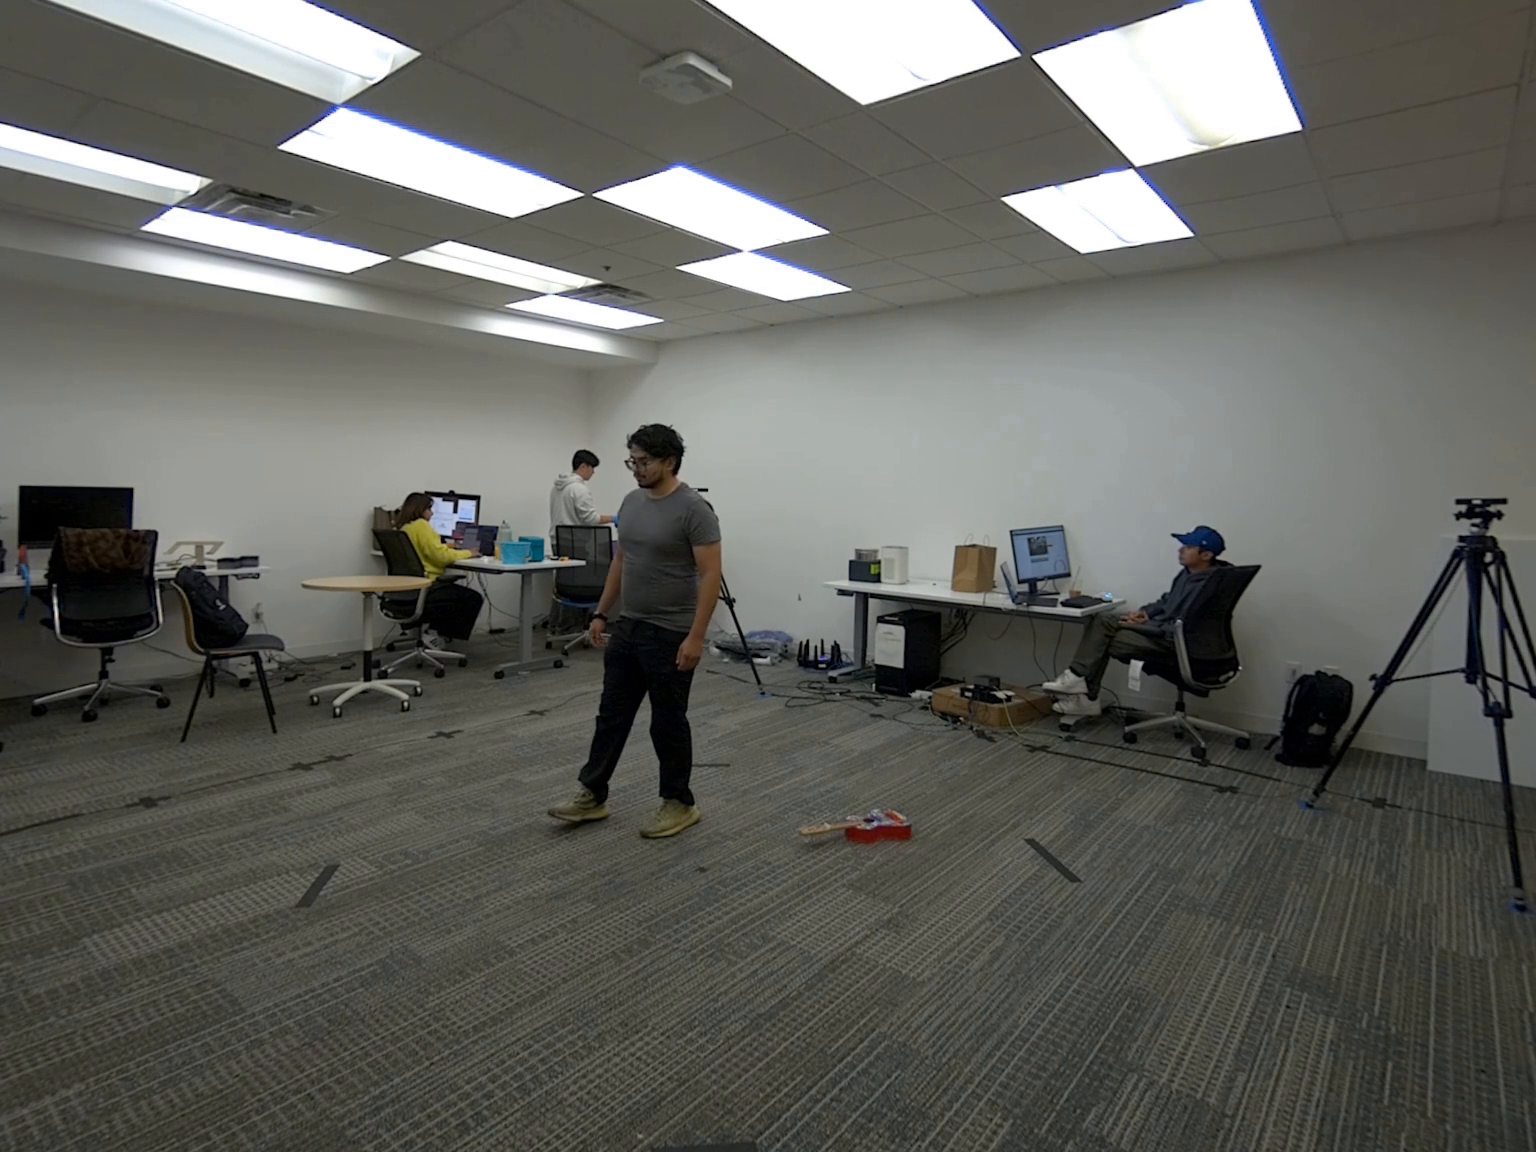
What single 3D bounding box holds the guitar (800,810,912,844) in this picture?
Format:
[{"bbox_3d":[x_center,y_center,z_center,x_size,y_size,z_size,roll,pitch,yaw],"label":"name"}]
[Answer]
[{"bbox_3d":[0.328,1.013,3.457,0.490,0.070,0.197,0,5,-16],"label":"guitar"}]
